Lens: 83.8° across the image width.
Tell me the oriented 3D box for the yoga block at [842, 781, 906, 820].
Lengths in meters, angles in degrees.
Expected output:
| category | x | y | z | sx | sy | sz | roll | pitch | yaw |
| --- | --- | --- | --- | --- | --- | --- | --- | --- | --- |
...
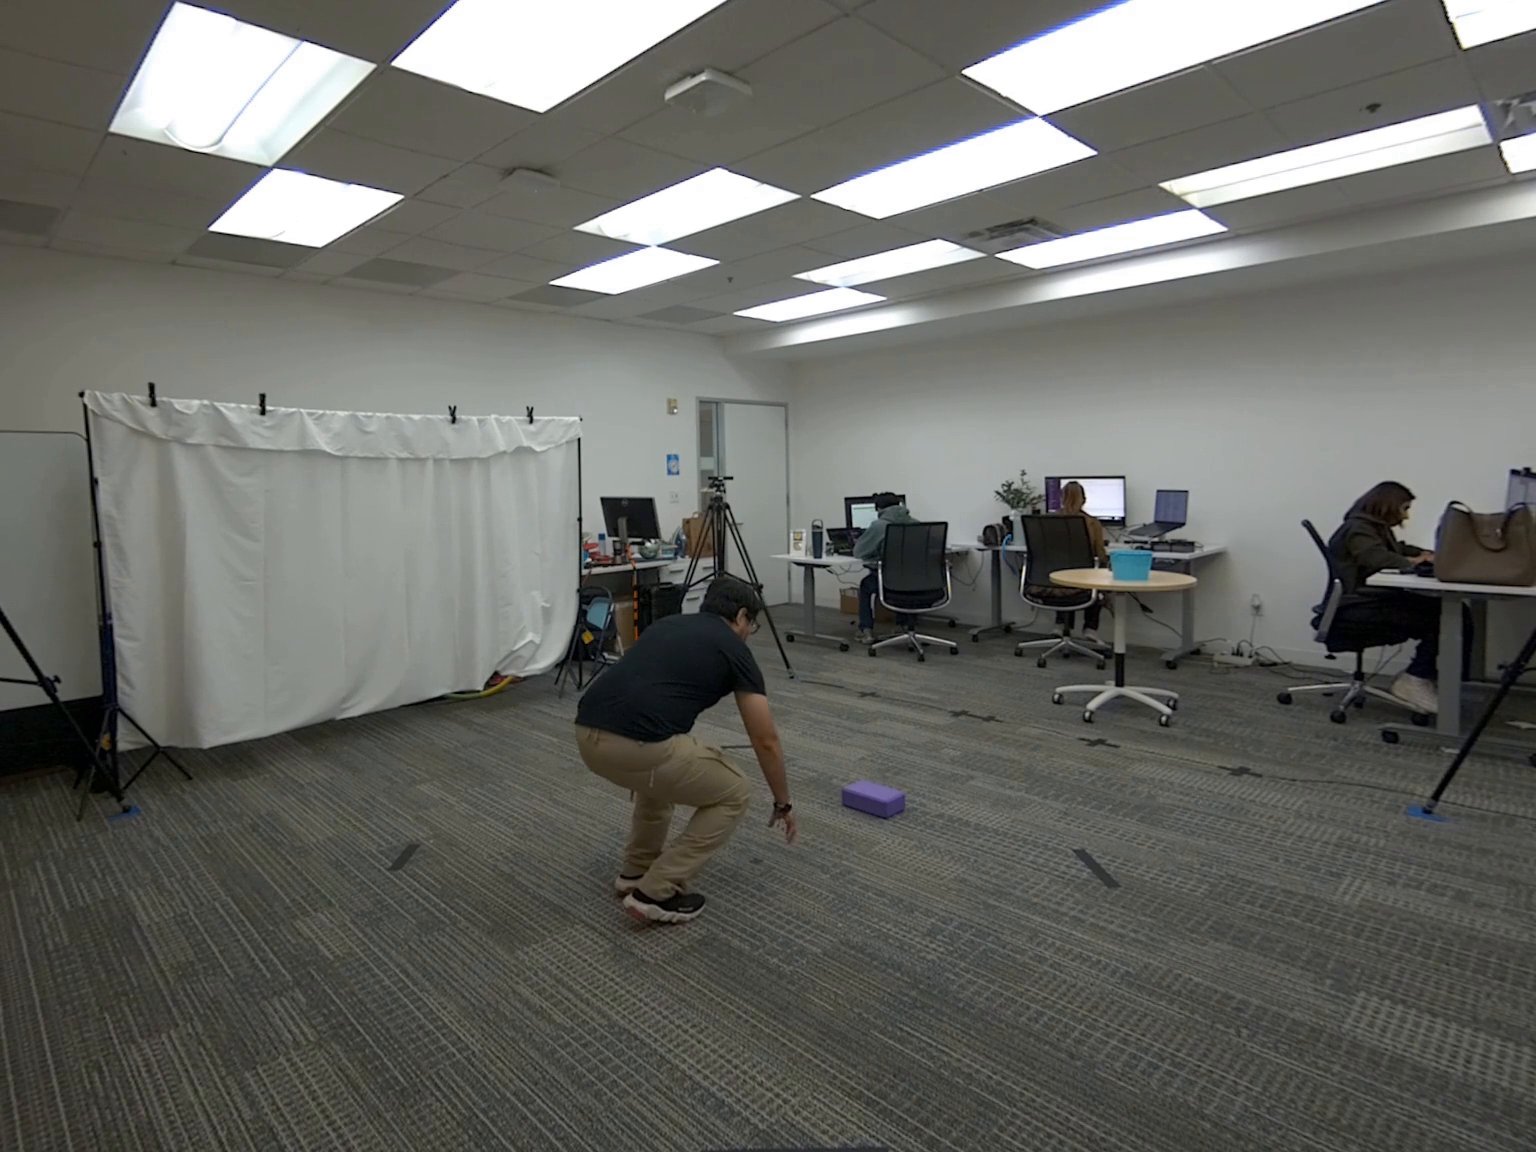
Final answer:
| category | x | y | z | sx | sy | sz | roll | pitch | yaw |
| --- | --- | --- | --- | --- | --- | --- | --- | --- | --- |
| yoga block | 0.442 | 0.932 | 3.584 | 0.236 | 0.076 | 0.145 | 6 | 9 | 44 |
